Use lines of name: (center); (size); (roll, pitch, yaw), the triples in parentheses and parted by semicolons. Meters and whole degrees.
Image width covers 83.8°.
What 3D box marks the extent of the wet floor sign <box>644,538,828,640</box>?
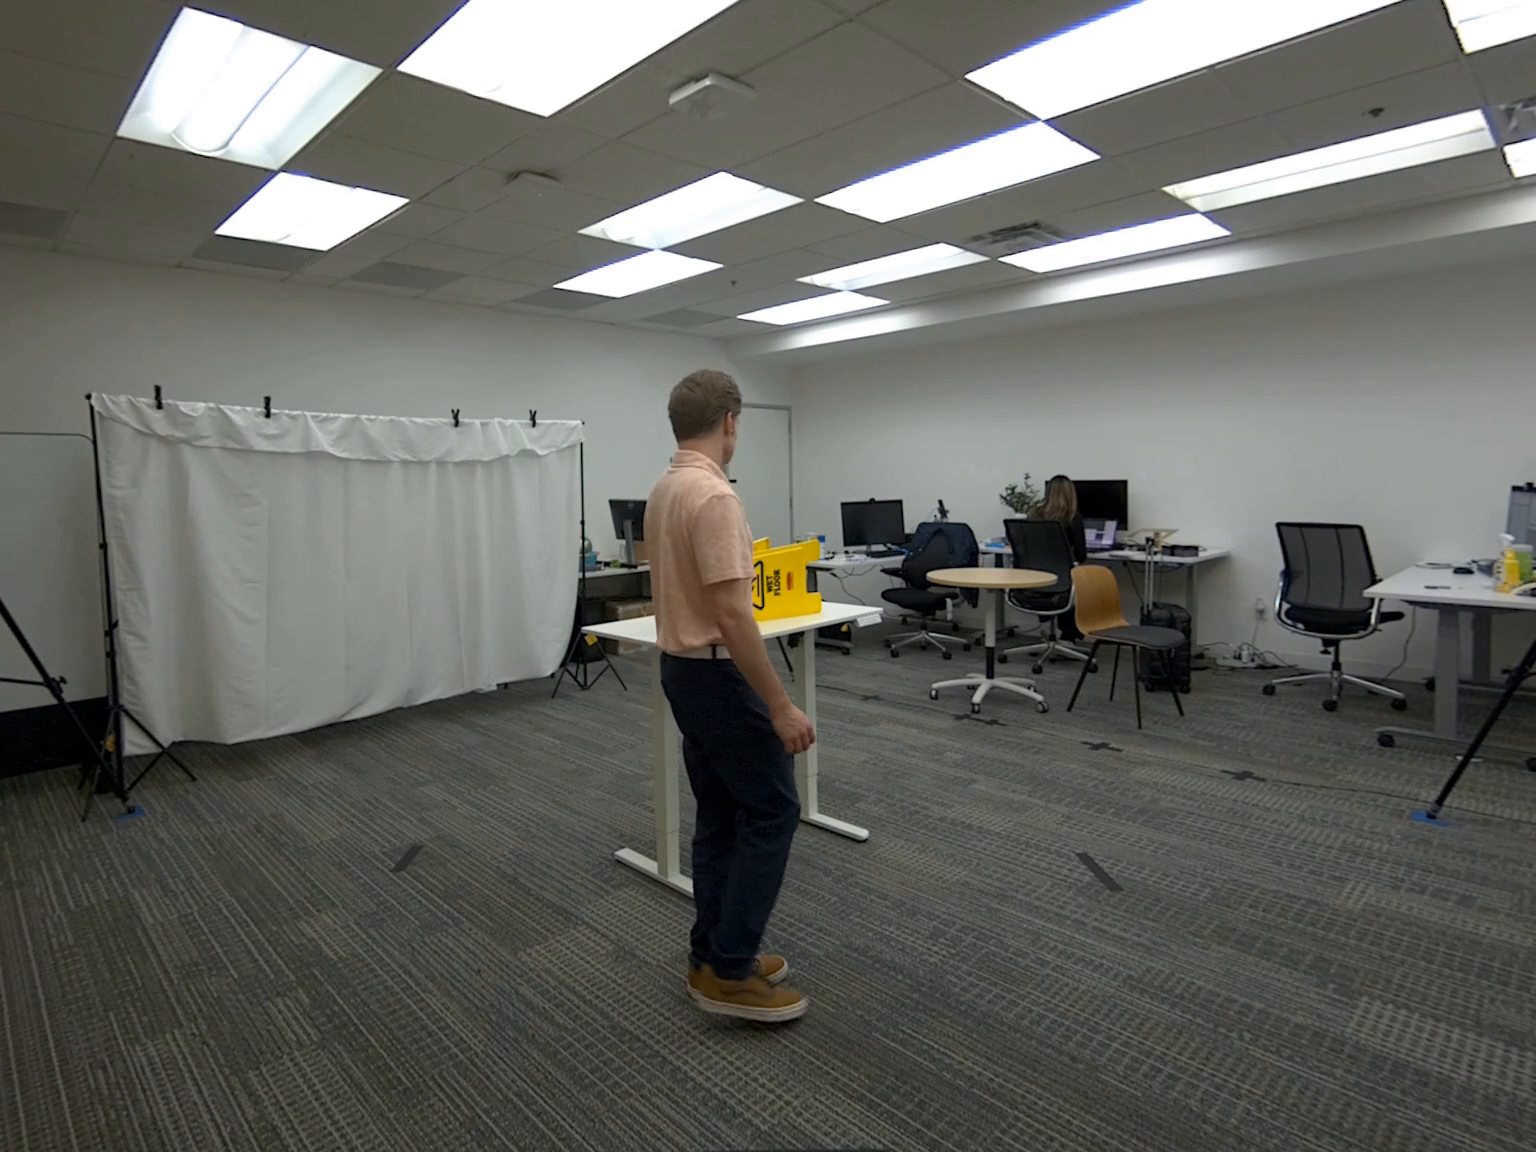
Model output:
wet floor sign: (-0.103, 0.040, 3.106); (0.299, 0.280, 0.630); (4, 10, 42)
